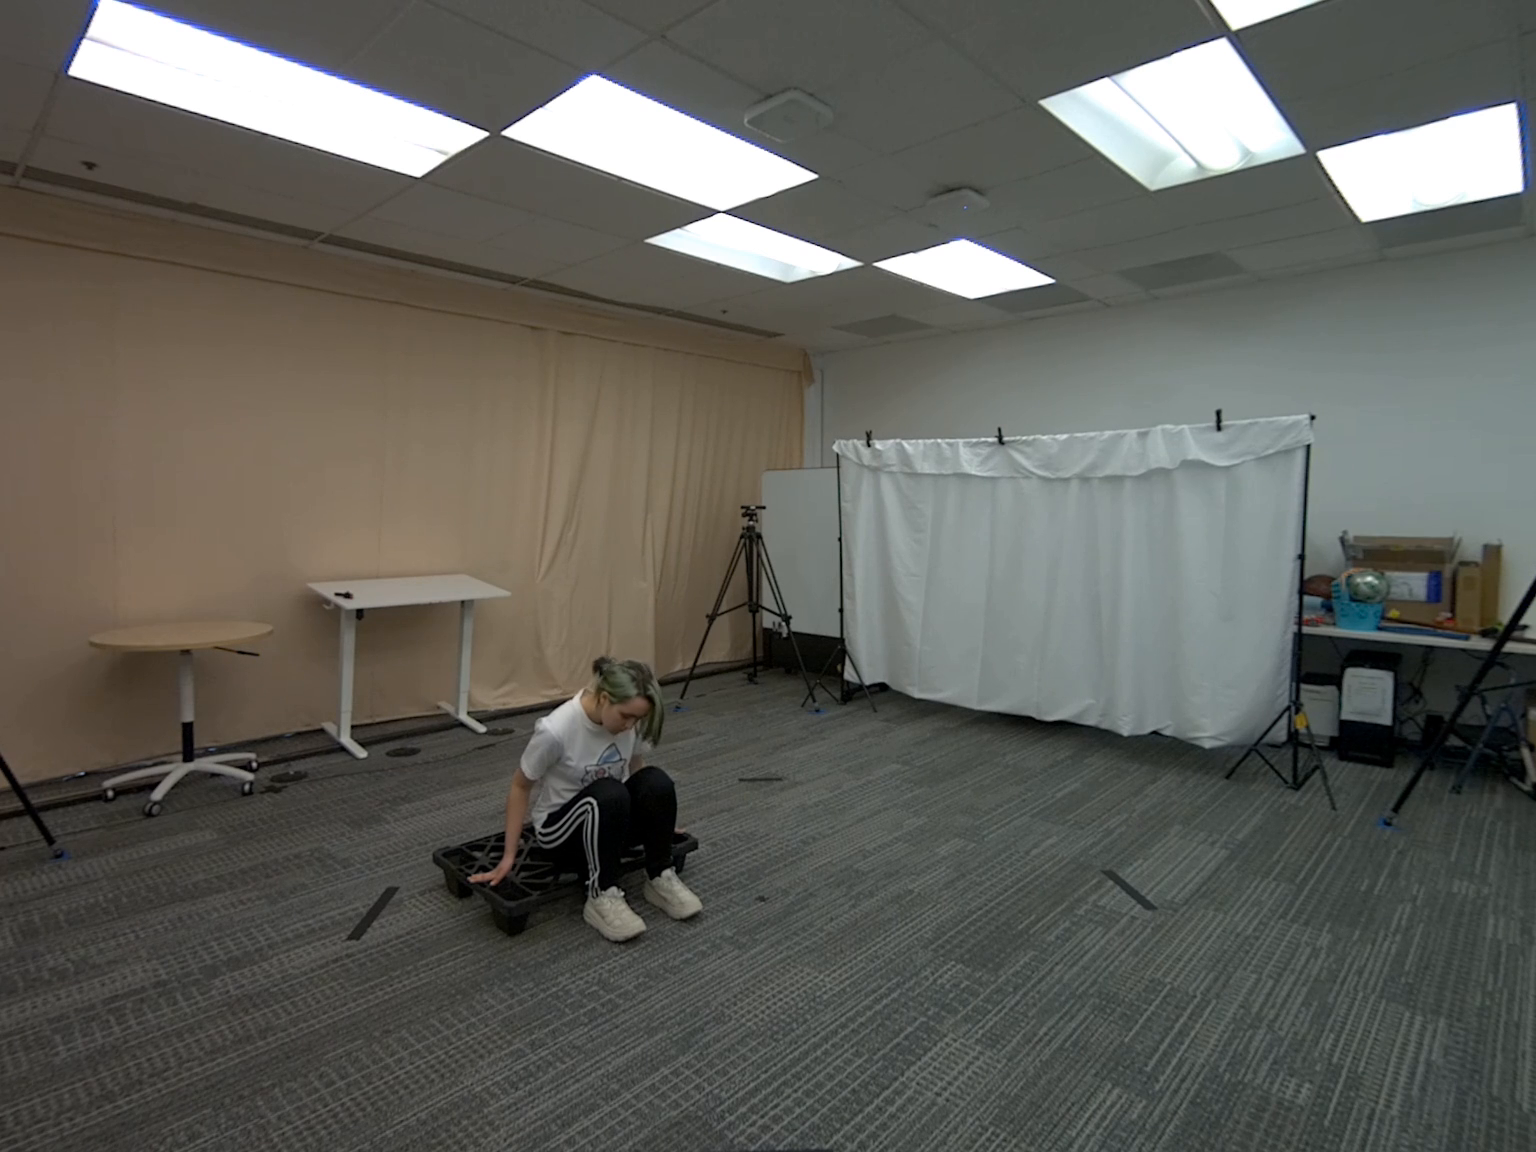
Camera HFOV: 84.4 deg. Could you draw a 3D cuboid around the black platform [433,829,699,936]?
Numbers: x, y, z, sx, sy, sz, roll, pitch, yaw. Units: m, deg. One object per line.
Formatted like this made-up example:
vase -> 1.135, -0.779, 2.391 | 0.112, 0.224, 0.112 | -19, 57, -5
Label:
black platform -> -0.742, 1.072, 3.142 | 0.781, 0.143, 0.625 | -5, 8, -43
